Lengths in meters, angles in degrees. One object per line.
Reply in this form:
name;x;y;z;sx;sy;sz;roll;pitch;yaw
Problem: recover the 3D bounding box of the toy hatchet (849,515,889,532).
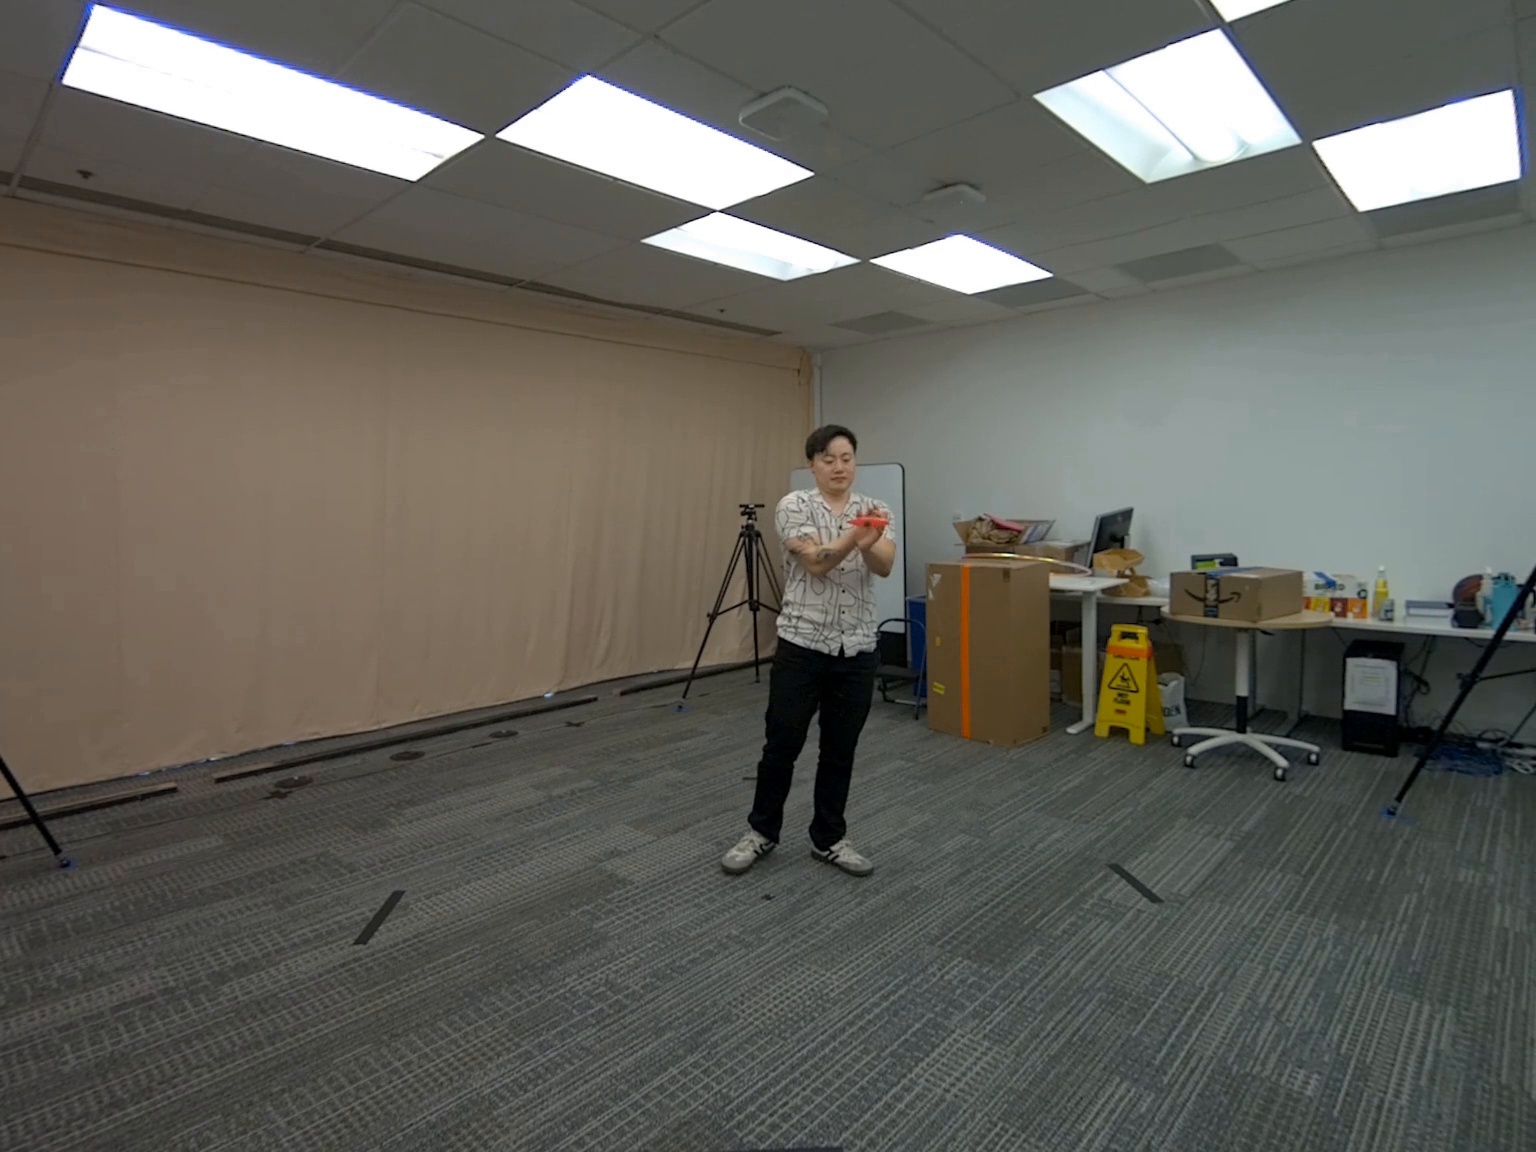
toy hatchet;0.360;-0.190;2.784;0.135;0.029;0.264;4;11;28
